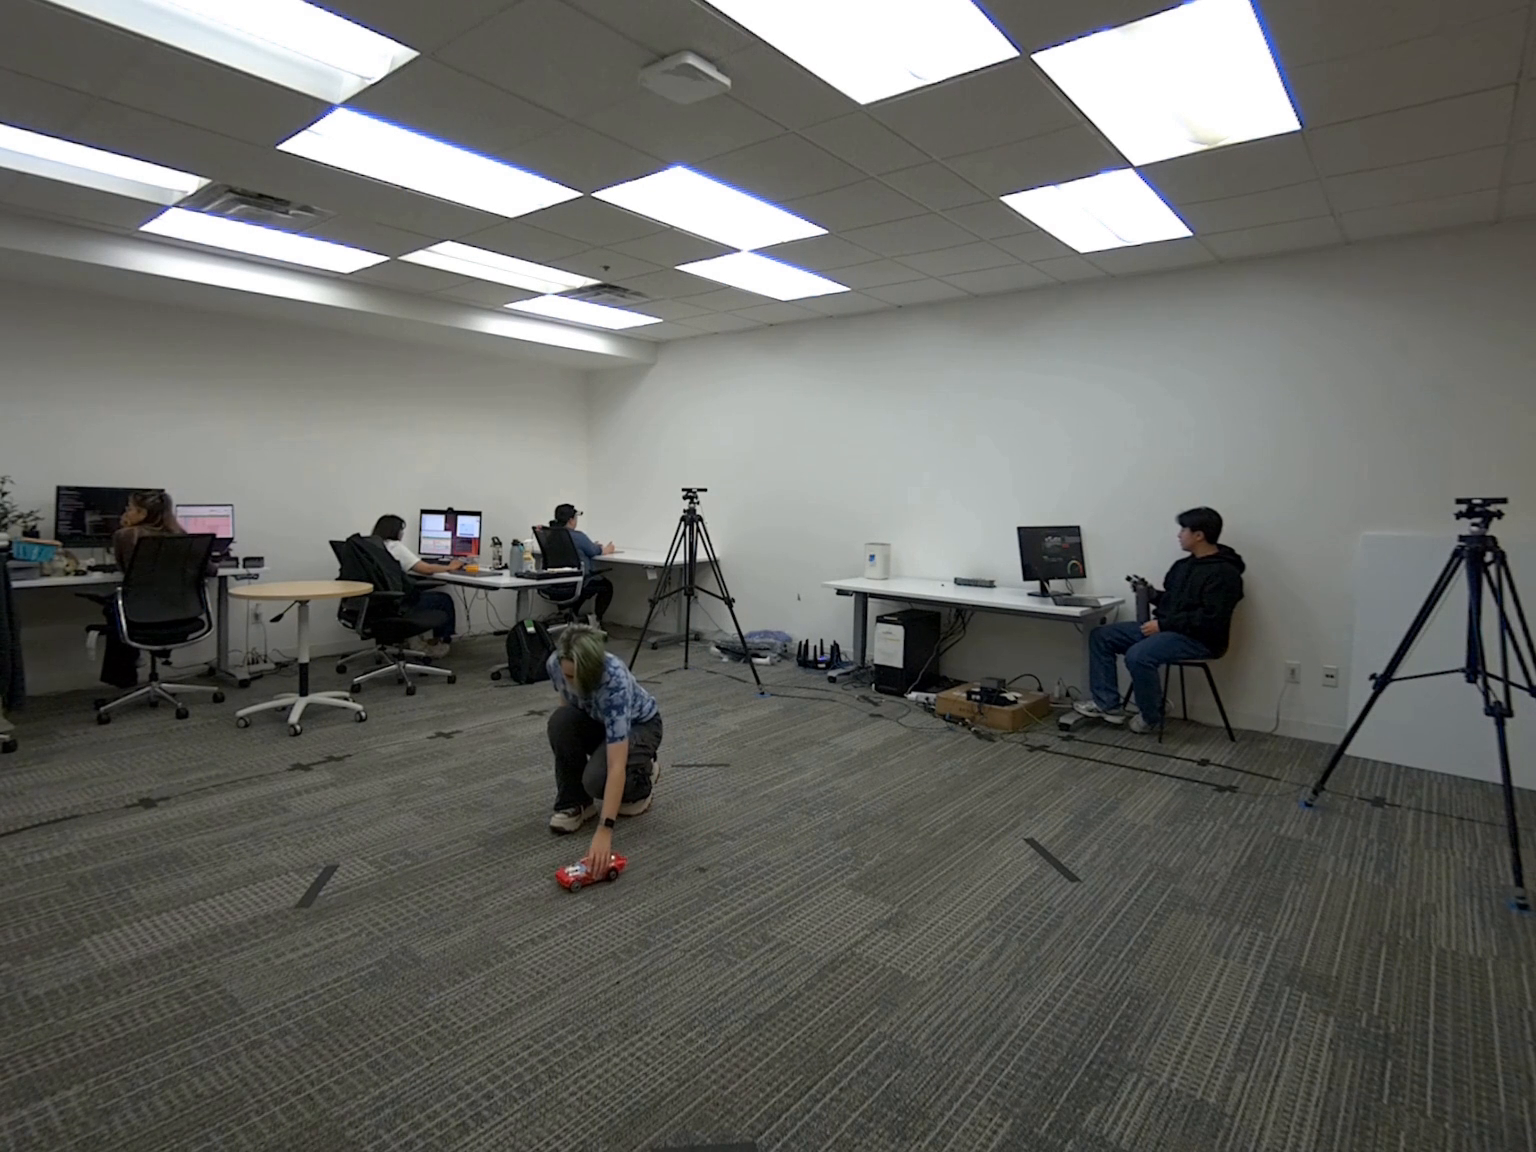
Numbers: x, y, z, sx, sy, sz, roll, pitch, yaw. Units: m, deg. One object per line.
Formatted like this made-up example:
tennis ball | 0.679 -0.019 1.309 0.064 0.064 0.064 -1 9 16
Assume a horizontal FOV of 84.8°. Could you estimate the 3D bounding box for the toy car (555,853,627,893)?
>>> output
toy car | -0.633 1.042 3.015 0.249 0.082 0.134 -17 14 -37
